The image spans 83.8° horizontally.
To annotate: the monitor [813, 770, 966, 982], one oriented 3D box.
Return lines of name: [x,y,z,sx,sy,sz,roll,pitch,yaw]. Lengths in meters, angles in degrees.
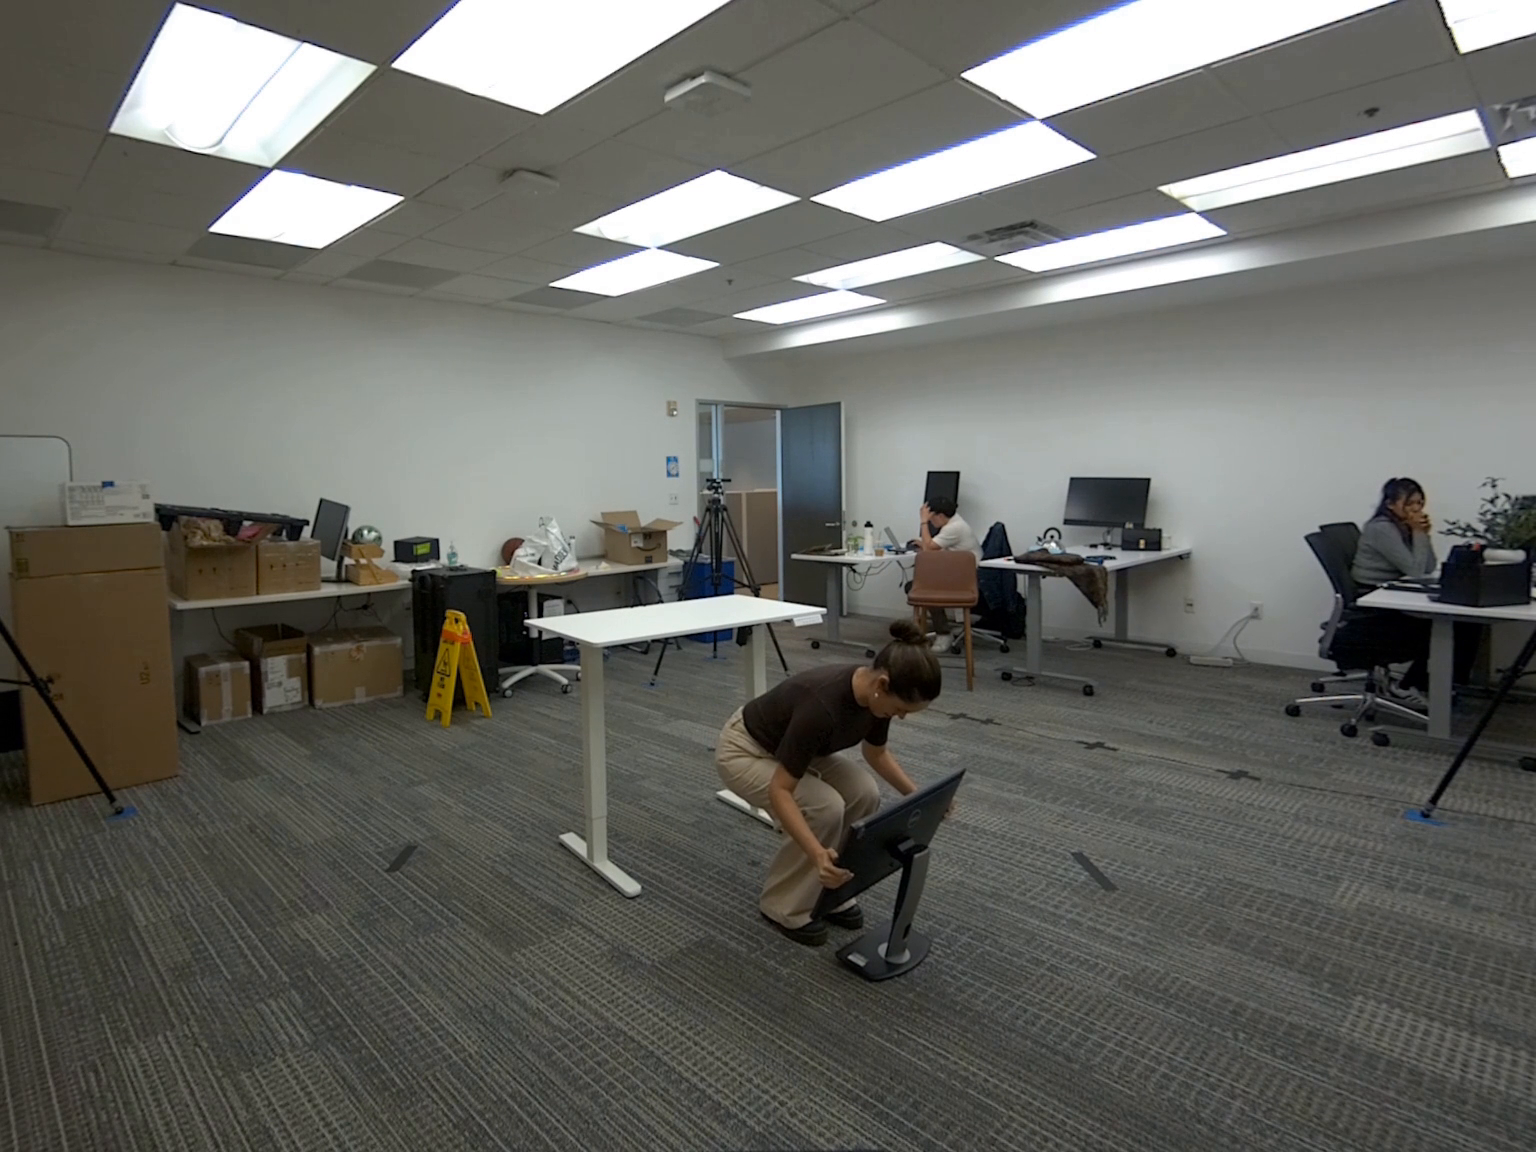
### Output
monitor: [0.375,0.862,2.432,0.525,0.517,0.194,-8,19,-44]
